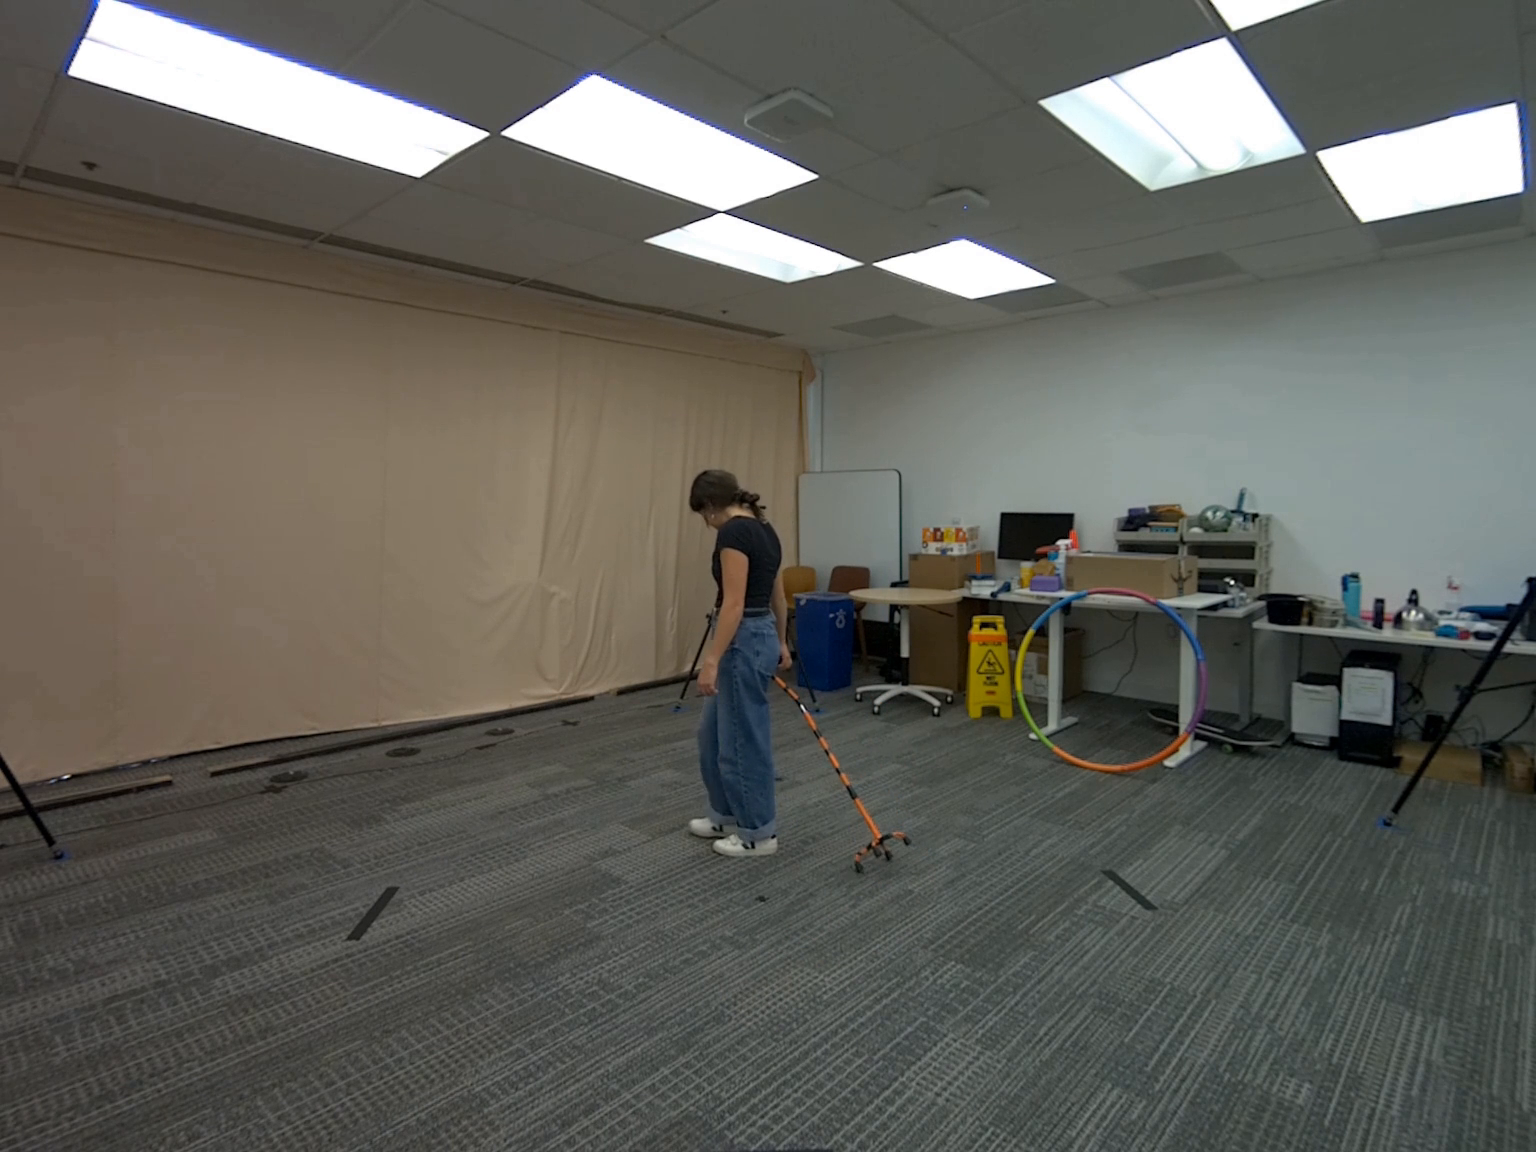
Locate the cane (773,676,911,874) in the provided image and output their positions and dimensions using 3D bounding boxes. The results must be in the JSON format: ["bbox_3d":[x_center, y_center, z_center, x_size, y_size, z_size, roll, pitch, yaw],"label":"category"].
[{"bbox_3d":[0.249,0.724,3.435,0.200,0.934,0.152,-3,-40,-40],"label":"cane"}]
